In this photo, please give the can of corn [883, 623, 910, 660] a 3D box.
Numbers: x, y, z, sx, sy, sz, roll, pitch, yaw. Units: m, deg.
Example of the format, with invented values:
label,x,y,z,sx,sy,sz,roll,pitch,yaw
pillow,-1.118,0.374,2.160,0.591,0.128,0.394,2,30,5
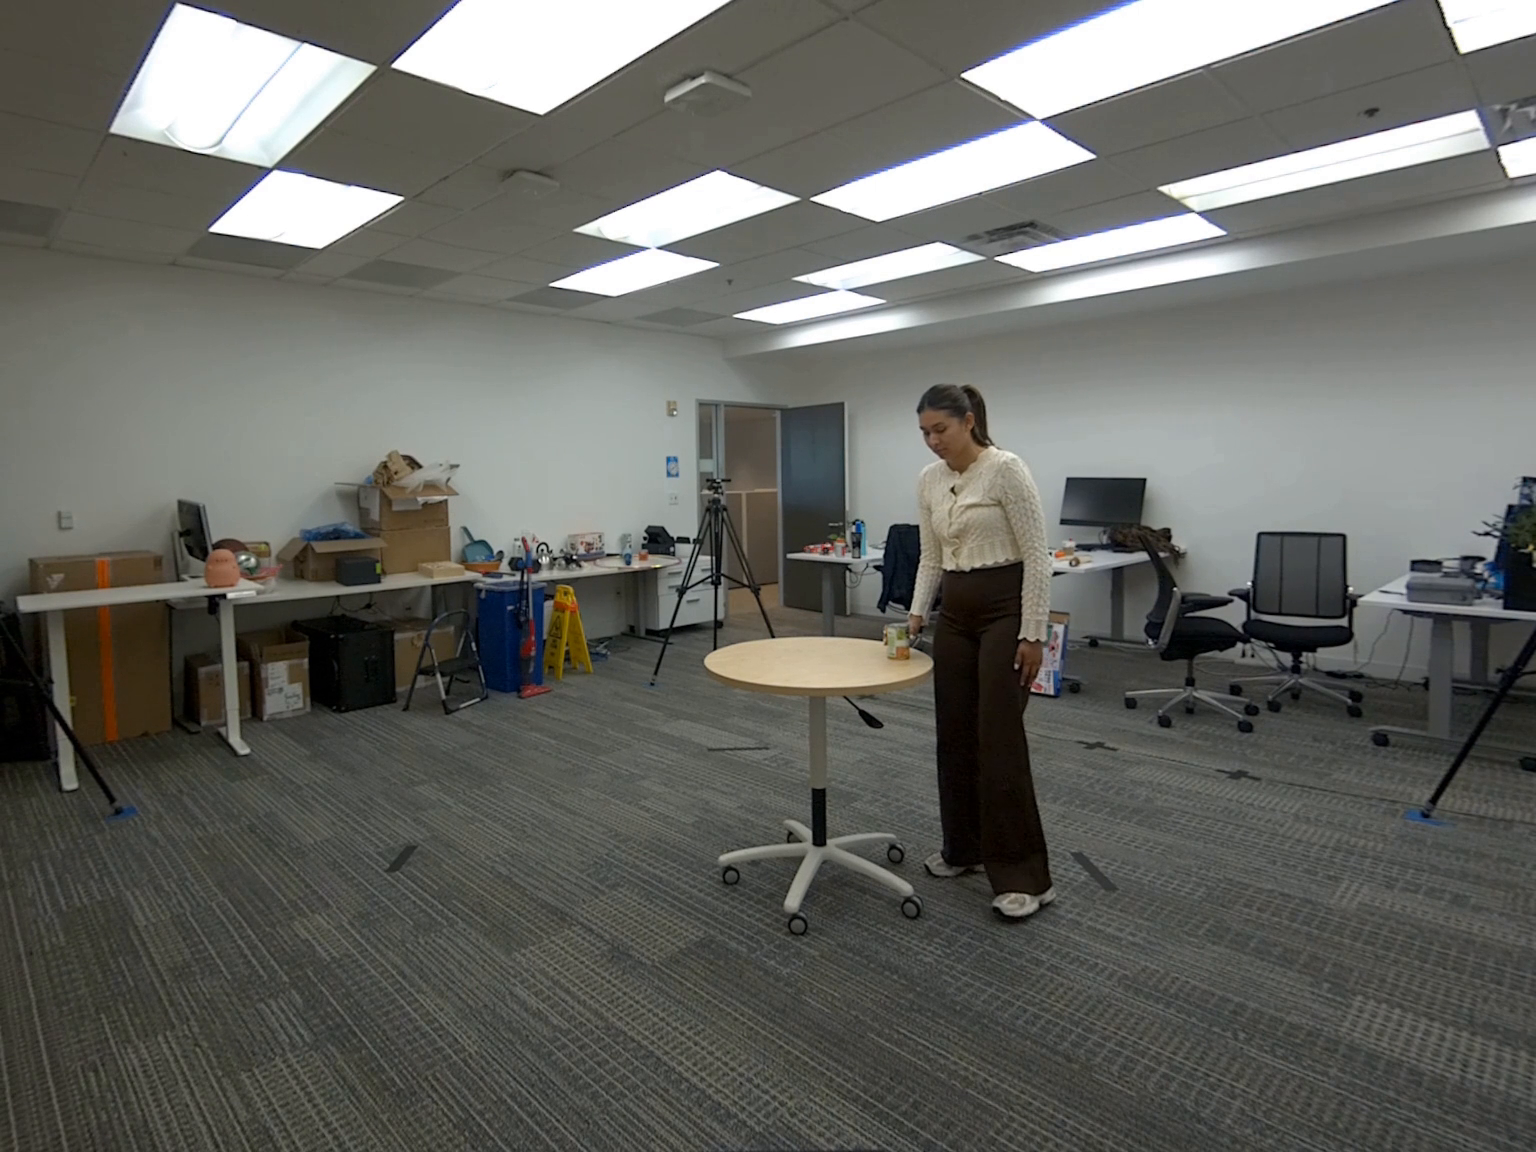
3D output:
label,x,y,z,sx,sy,sz,roll,pitch,yaw
can of corn,0.445,0.217,2.889,0.074,0.110,0.074,-2,6,-1
